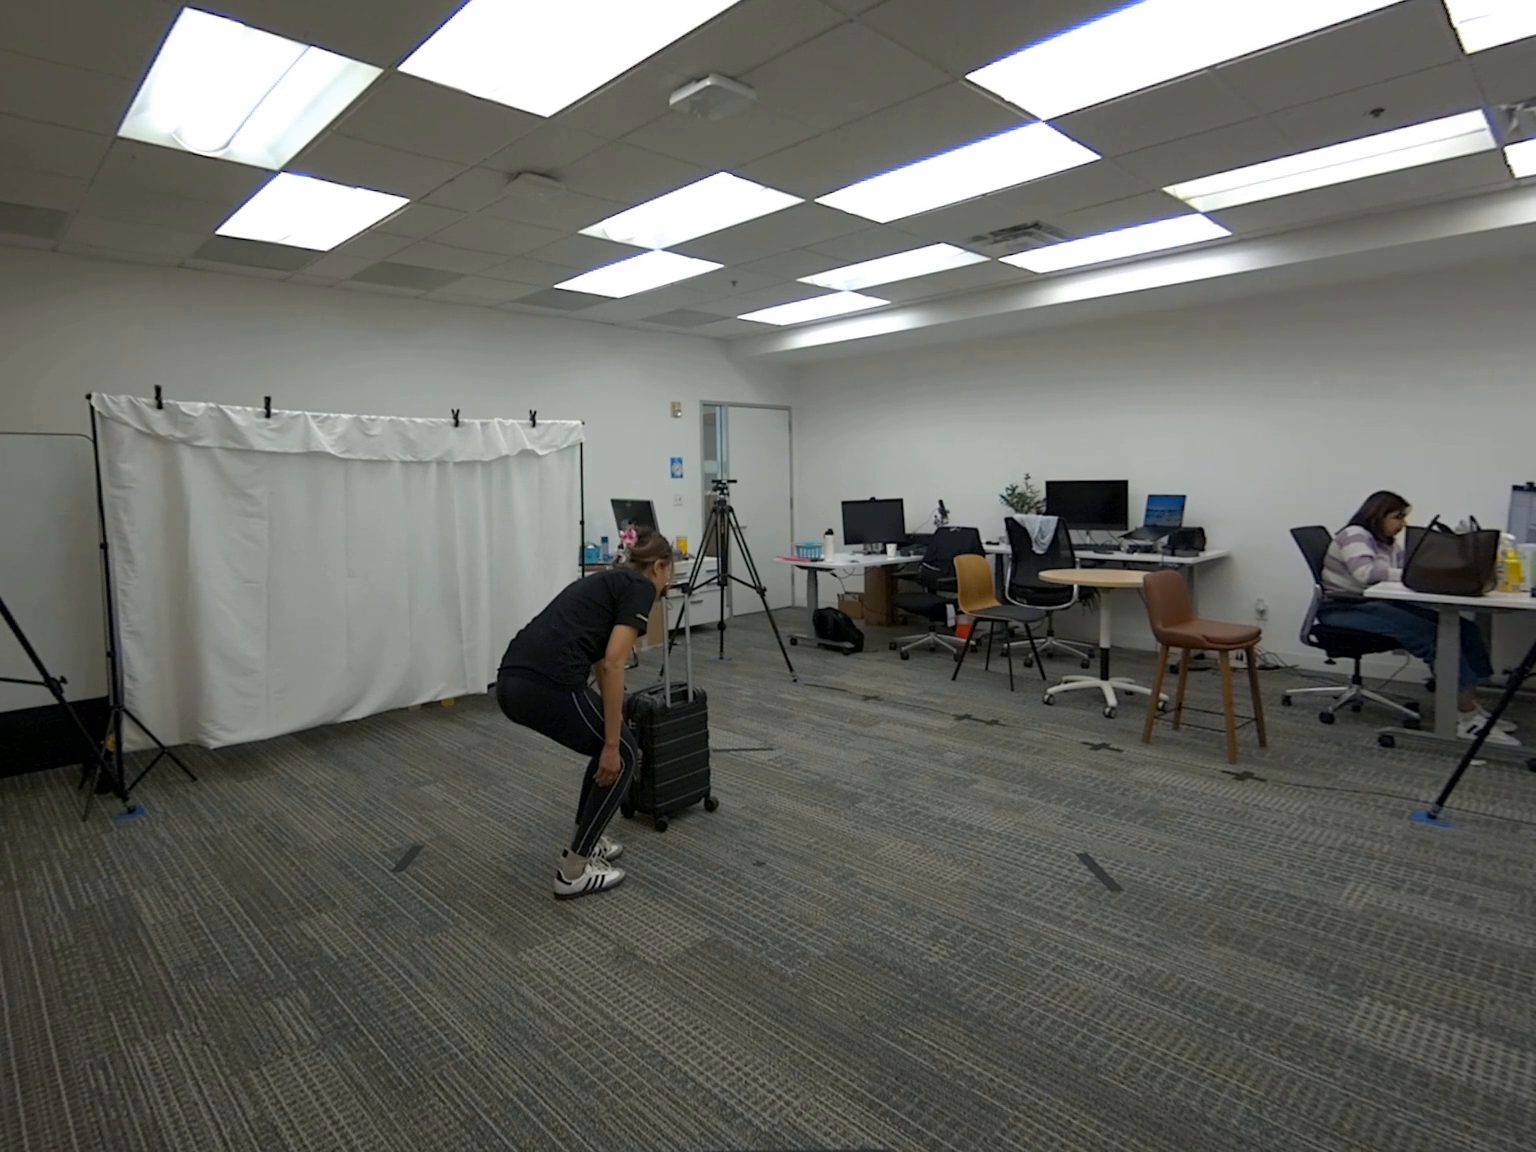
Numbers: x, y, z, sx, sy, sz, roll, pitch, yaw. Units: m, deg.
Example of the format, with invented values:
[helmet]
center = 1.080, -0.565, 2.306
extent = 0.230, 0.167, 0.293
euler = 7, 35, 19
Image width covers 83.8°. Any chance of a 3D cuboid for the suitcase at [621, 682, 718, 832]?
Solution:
[suitcase]
center = -0.455, 0.526, 3.583
extent = 0.264, 0.976, 0.374
euler = -2, 3, 42
